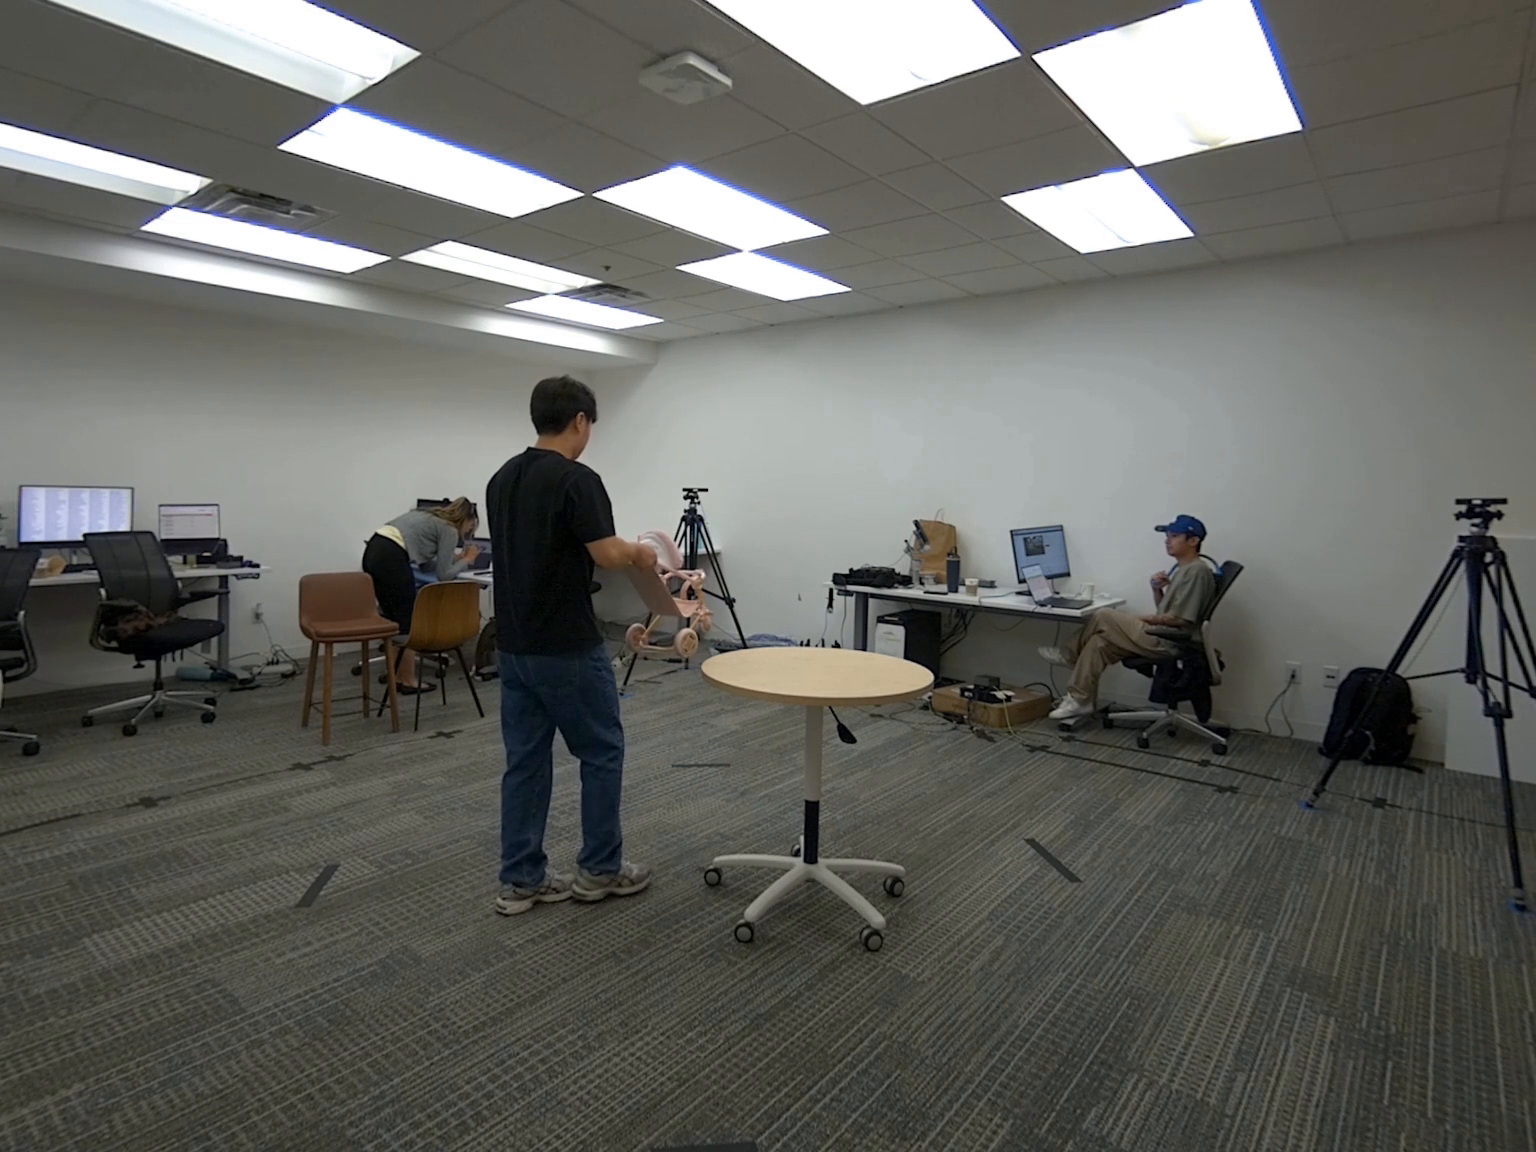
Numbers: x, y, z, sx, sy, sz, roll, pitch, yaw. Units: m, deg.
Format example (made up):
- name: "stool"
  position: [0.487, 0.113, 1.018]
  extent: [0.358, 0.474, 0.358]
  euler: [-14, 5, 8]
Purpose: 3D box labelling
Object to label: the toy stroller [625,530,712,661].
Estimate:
- name: "toy stroller"
  position: [-0.389, 0.053, 3.174]
  extent: [0.291, 0.522, 0.339]
  euler: [3, 30, 42]
